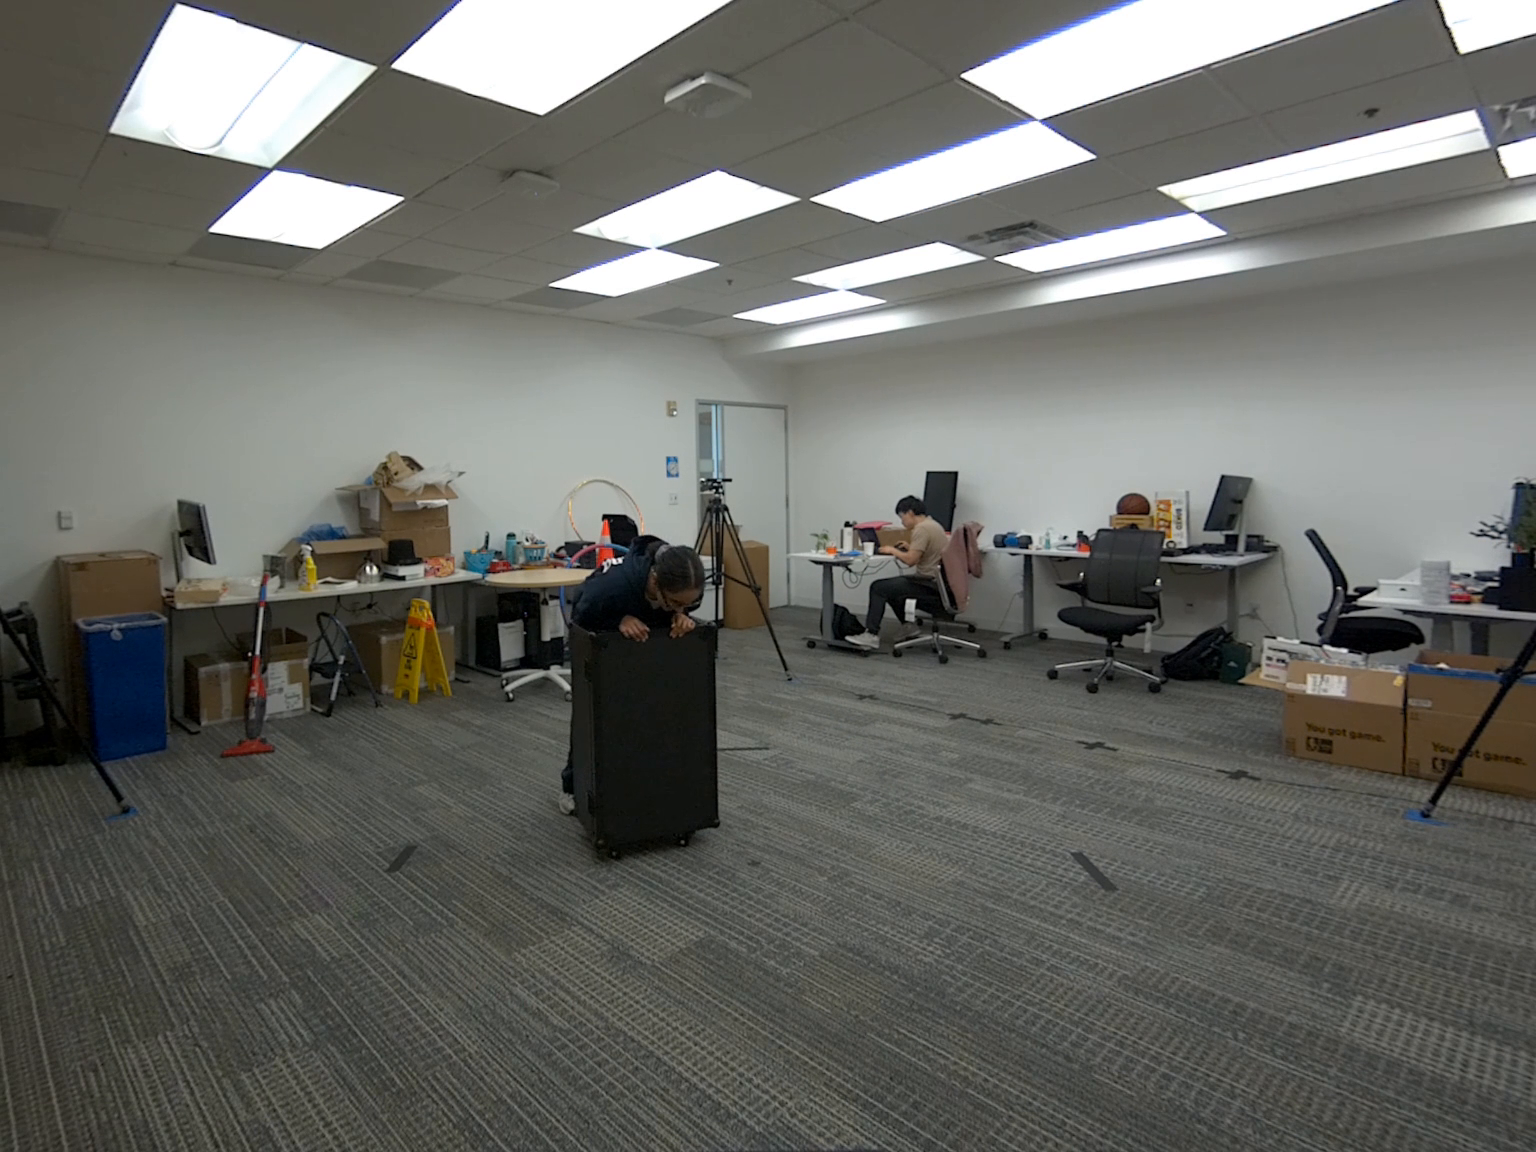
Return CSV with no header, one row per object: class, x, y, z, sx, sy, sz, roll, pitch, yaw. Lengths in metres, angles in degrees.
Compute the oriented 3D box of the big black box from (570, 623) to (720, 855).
big black box,-0.489,0.605,3.313,0.511,0.859,0.405,-3,4,-23
